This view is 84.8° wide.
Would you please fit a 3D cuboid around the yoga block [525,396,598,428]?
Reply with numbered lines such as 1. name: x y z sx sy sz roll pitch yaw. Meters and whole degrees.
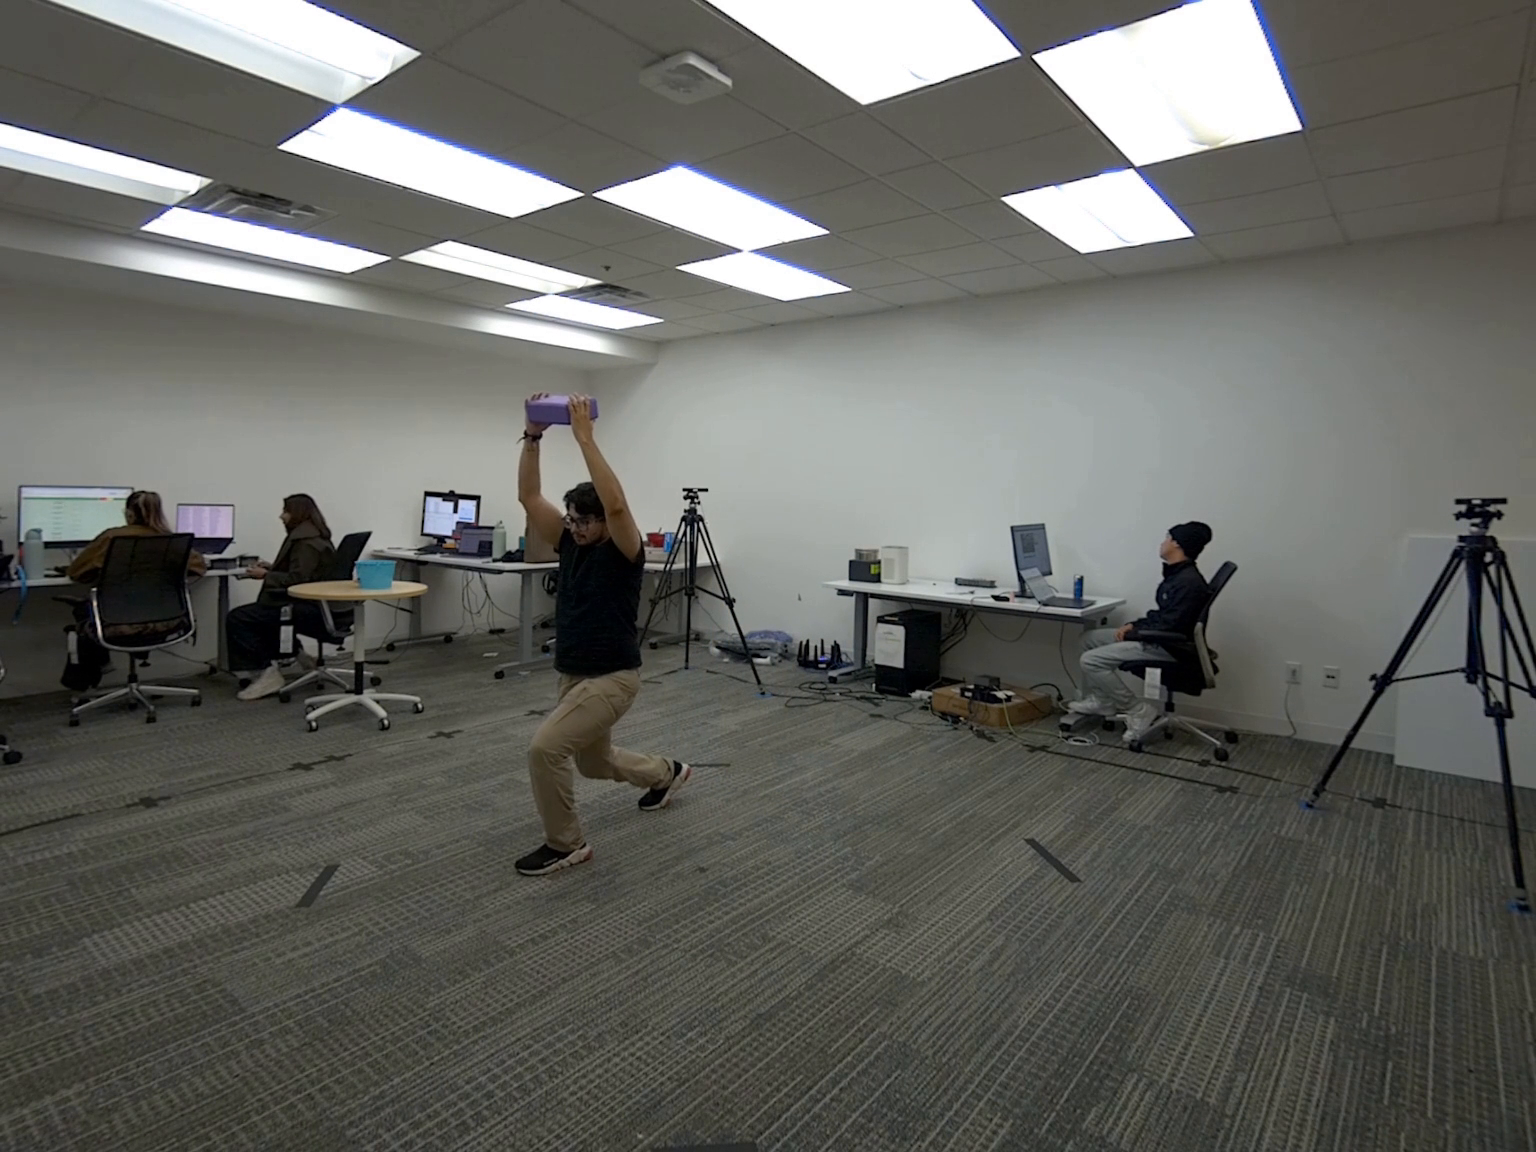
1. yoga block: -0.752 -0.611 3.073 0.237 0.075 0.147 12 25 34
